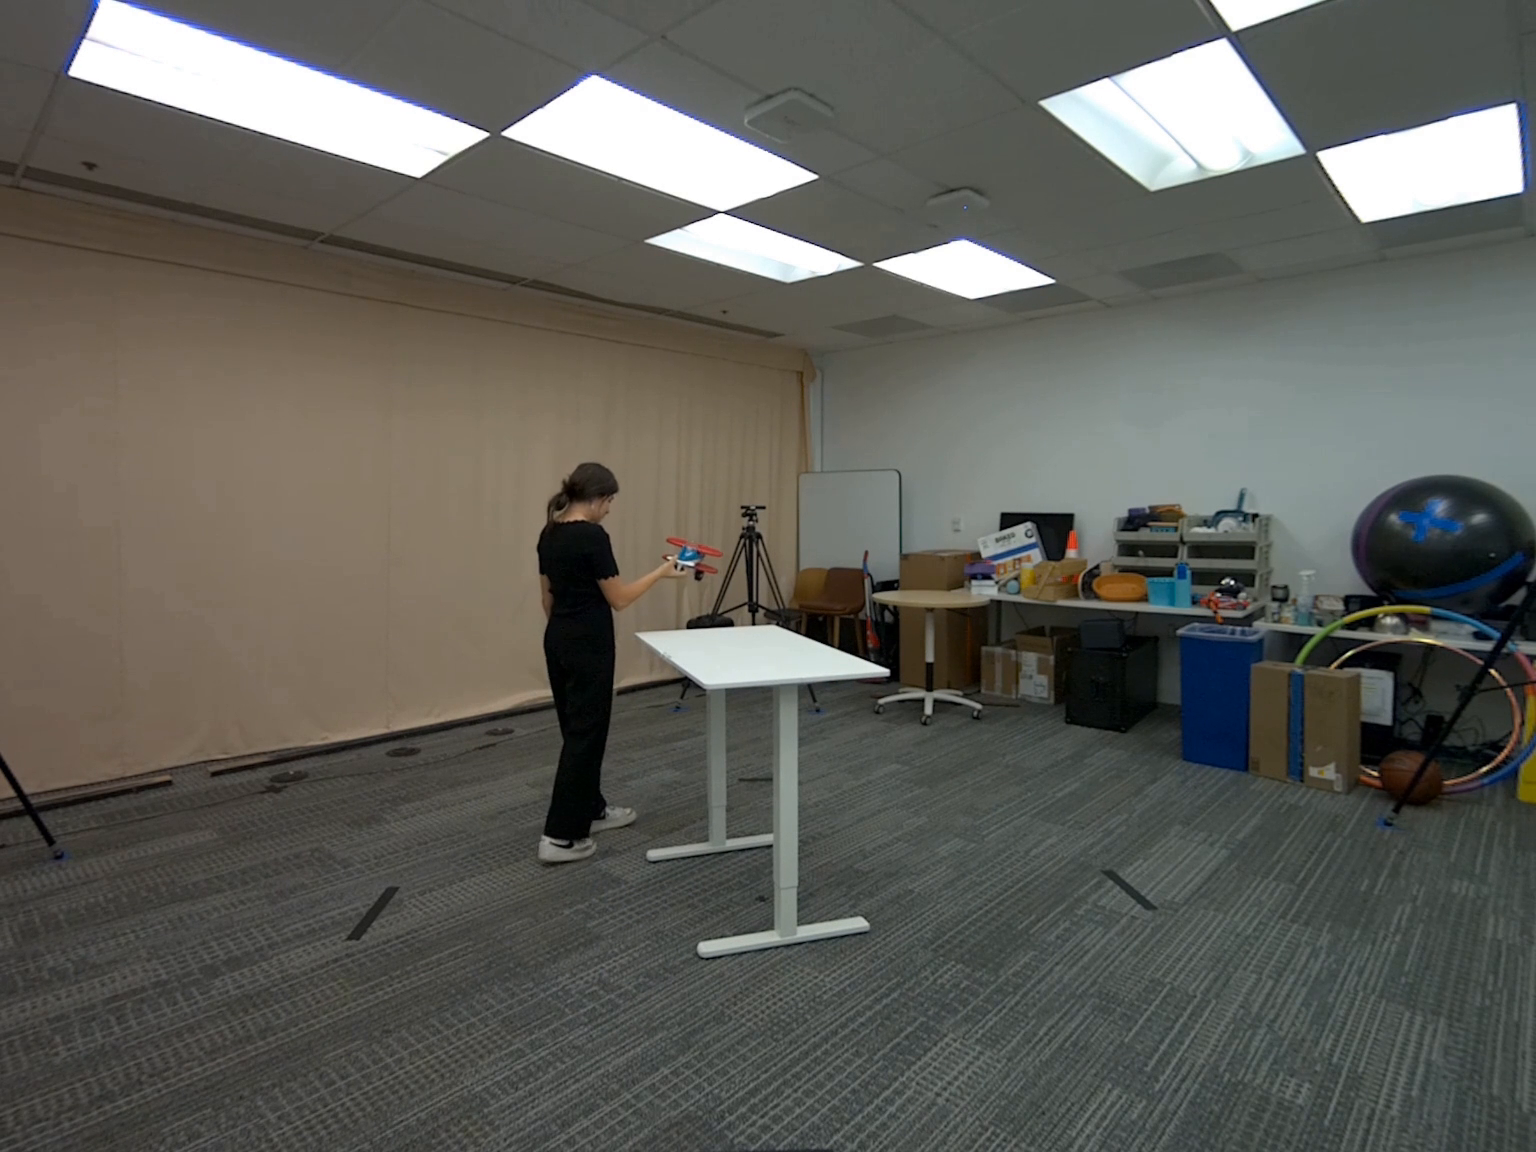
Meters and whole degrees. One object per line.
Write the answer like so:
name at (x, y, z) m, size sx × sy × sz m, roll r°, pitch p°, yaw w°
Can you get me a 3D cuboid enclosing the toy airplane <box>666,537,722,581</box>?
toy airplane at (-0.321, -0.066, 3.611) m, size 0.246 × 0.156 × 0.264 m, roll 17°, pitch -4°, yaw -18°
